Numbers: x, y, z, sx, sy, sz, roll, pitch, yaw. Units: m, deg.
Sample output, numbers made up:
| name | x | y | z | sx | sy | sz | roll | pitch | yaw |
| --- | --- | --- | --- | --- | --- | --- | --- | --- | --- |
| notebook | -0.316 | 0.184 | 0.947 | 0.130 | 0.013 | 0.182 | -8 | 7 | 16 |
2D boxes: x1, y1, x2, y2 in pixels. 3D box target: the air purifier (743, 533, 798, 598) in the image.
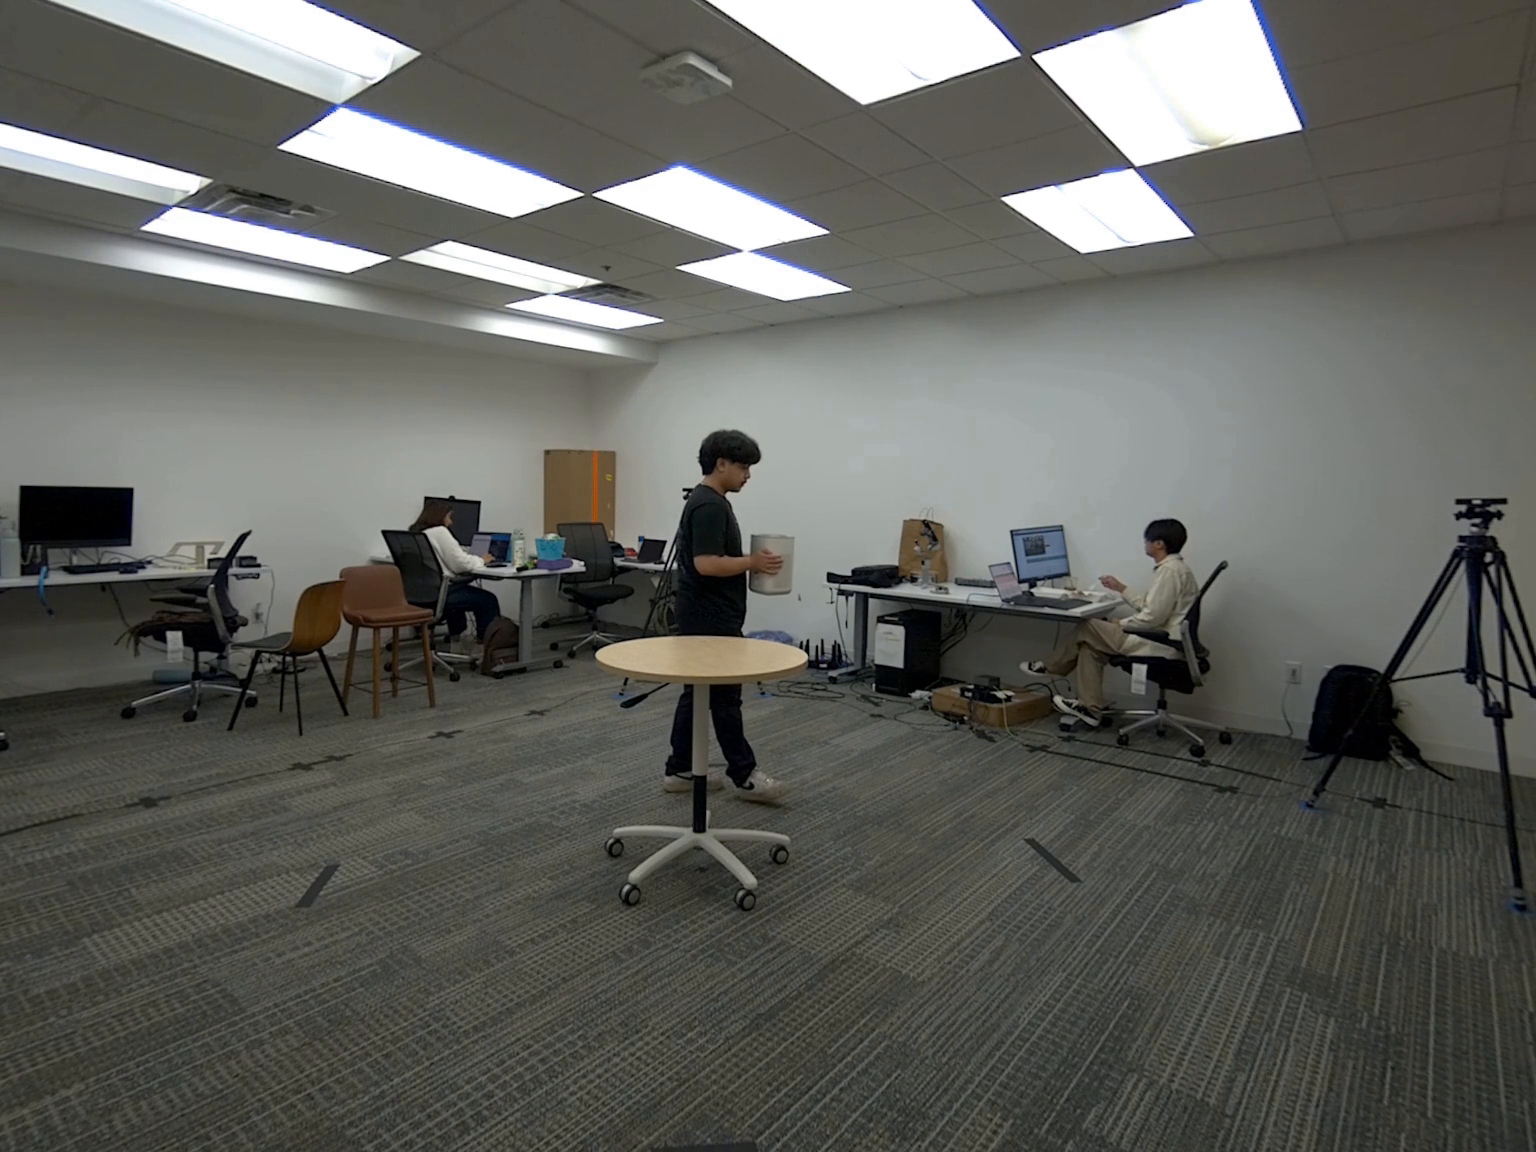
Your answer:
| name | x | y | z | sx | sy | sz | roll | pitch | yaw |
| --- | --- | --- | --- | --- | --- | --- | --- | --- | --- |
| air purifier | 0.005 | -0.055 | 3.858 | 0.166 | 0.264 | 0.177 | -2 | 7 | -39 |
